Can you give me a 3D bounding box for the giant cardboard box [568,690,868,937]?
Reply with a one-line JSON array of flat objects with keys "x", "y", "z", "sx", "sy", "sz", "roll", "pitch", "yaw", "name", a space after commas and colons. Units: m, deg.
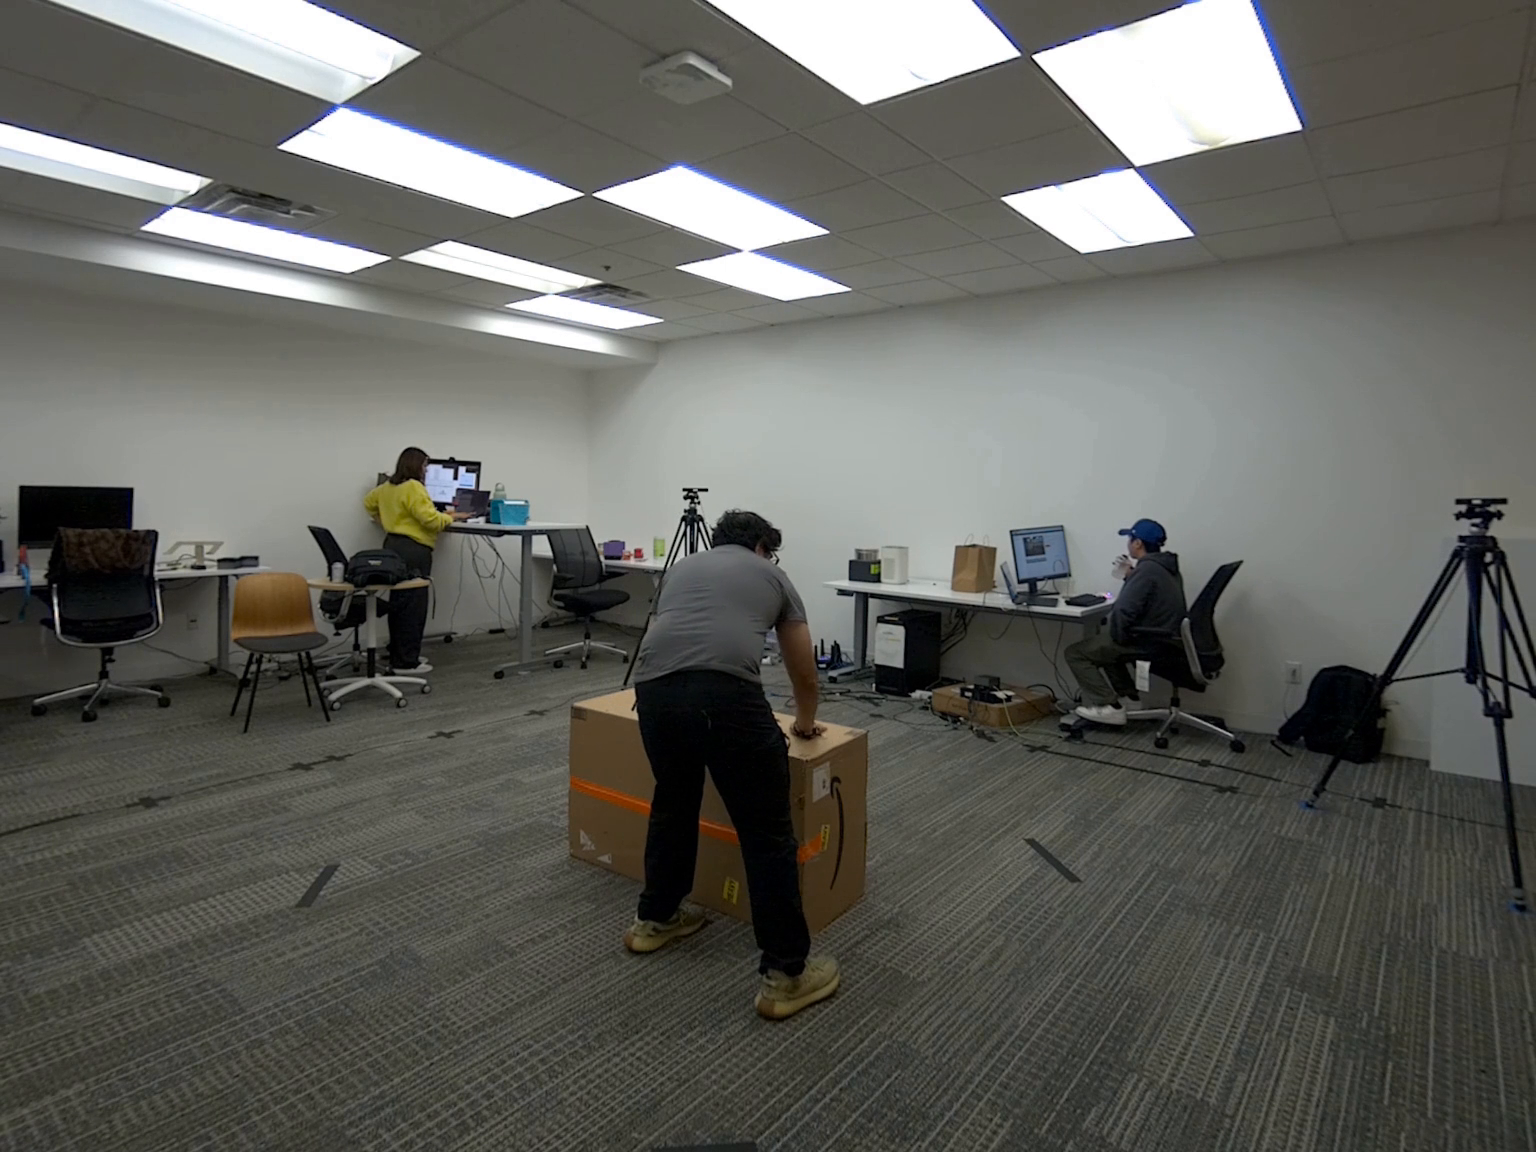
[{"x": -0.215, "y": 0.787, "z": 3.056, "sx": 1.059, "sy": 0.575, "sz": 0.414, "roll": 4, "pitch": 5, "yaw": 34, "name": "giant cardboard box"}]
